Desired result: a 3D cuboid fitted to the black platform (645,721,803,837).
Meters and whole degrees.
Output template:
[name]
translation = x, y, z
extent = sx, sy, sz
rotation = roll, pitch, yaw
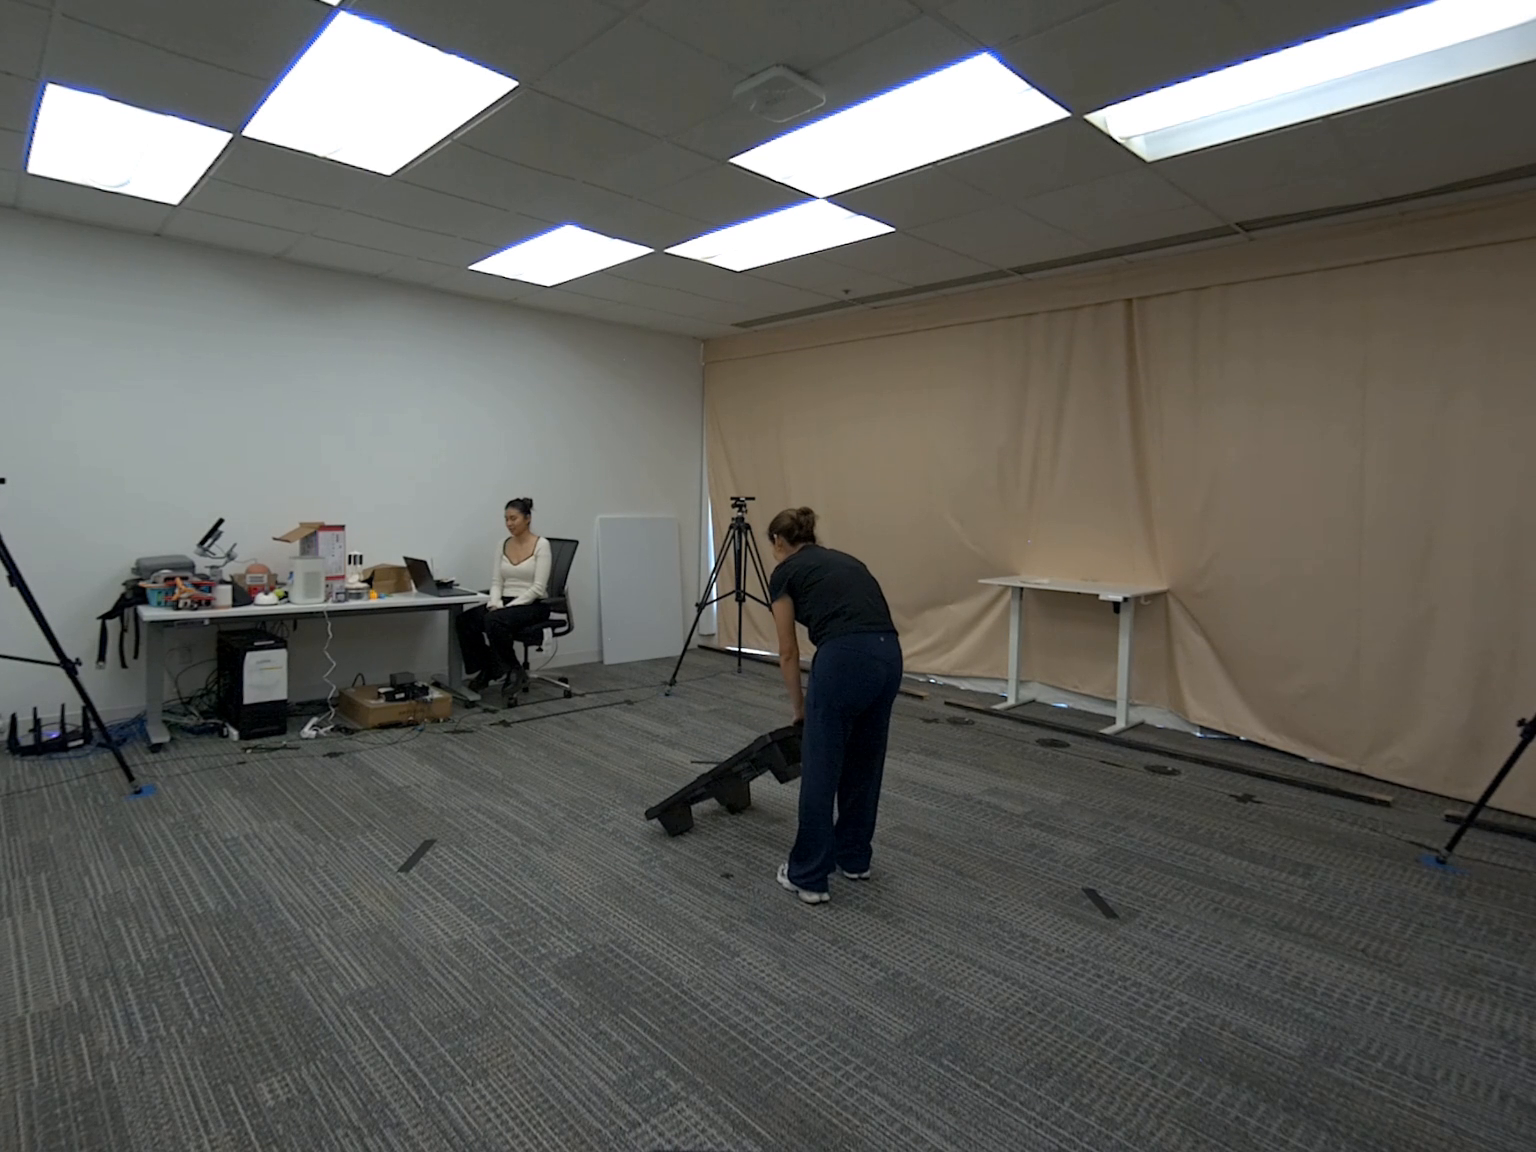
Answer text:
[black platform]
translation = -0.054, 0.808, 3.418
extent = 0.592, 0.146, 0.808
rotation = -5, -28, -50
